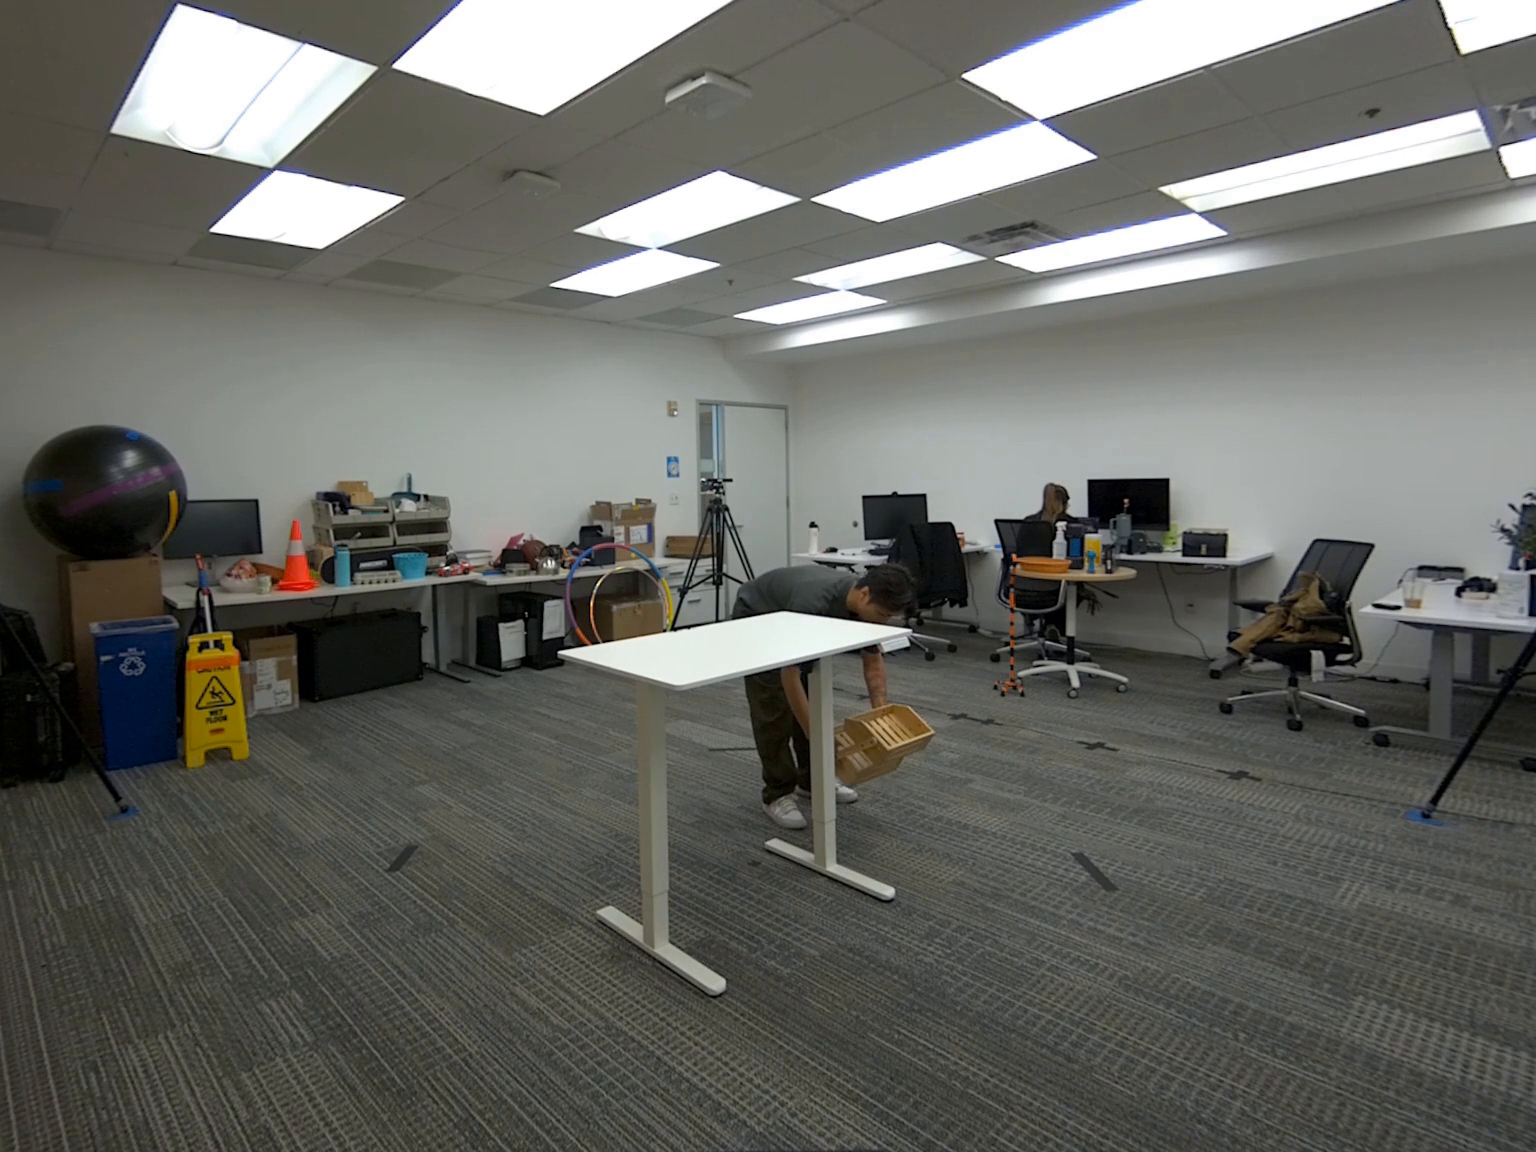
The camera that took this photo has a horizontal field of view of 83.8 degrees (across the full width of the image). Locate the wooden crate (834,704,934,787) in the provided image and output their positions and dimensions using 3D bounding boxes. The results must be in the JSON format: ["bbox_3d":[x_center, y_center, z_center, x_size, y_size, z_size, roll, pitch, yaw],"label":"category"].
[{"bbox_3d":[0.397,0.620,3.329,0.316,0.270,0.313,-7,40,-47],"label":"wooden crate"}]
